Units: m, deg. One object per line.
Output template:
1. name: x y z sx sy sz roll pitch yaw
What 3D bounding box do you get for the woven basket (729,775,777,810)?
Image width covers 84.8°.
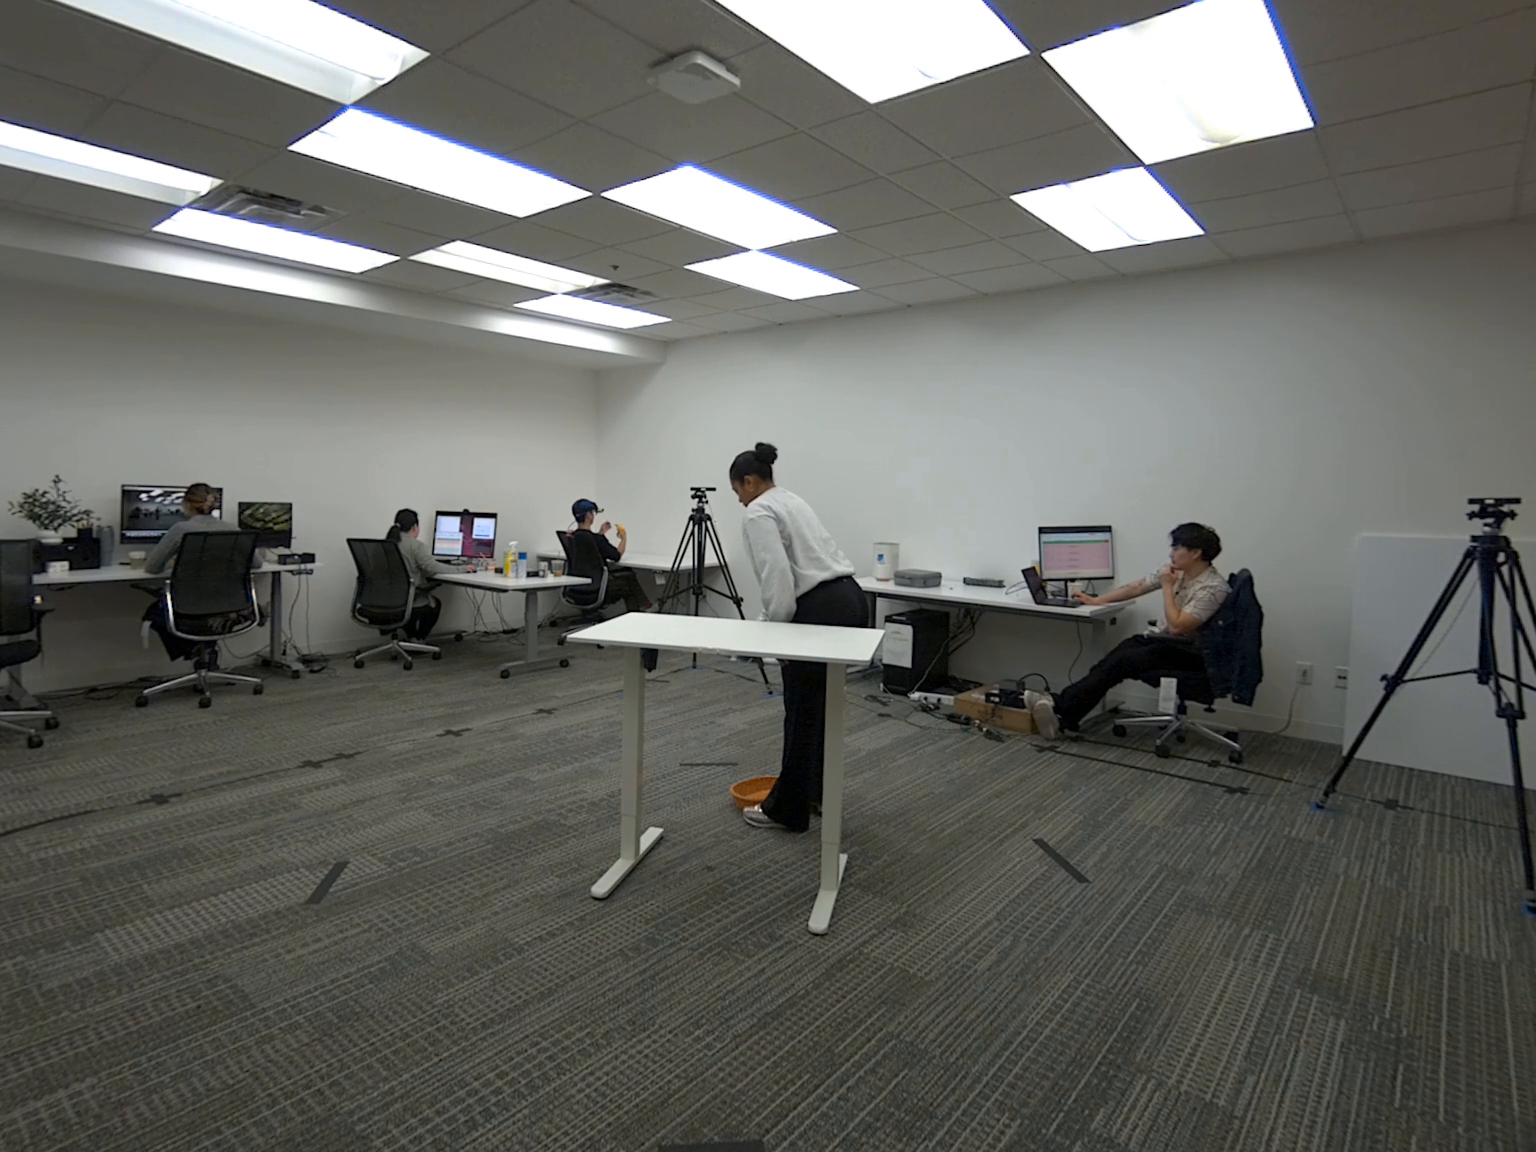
1. woven basket: -0.029 0.961 3.781 0.261 0.073 0.340 4 7 39
